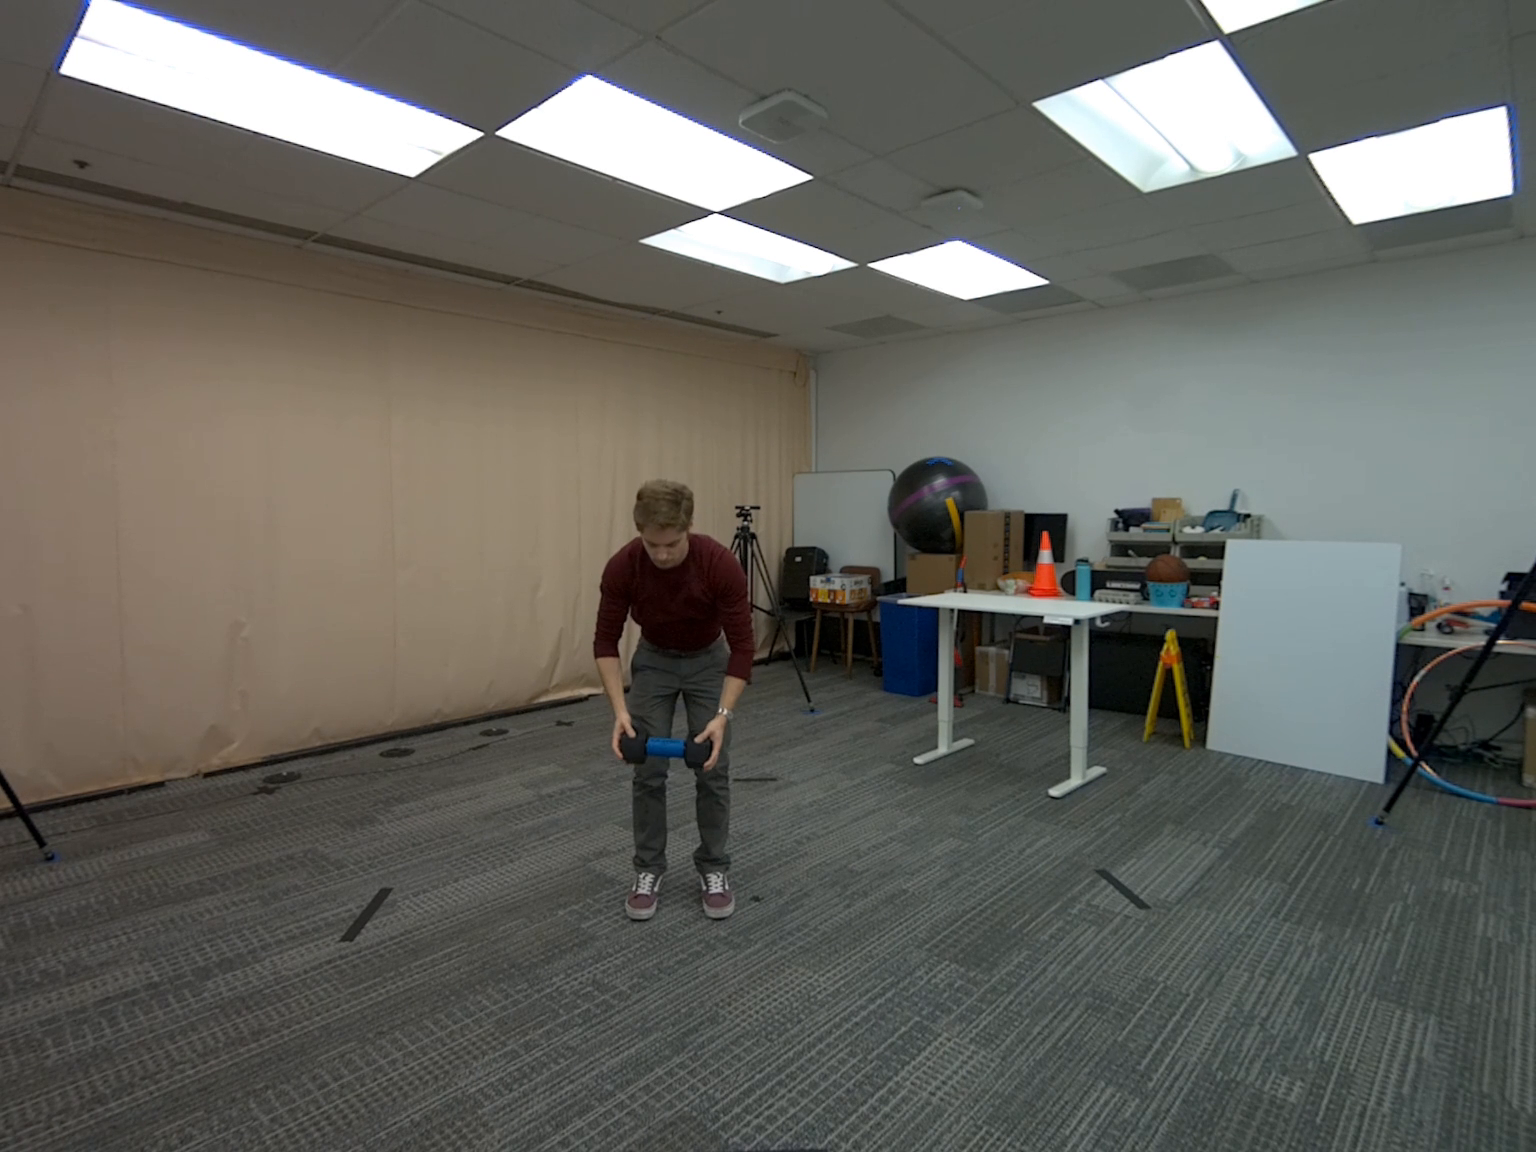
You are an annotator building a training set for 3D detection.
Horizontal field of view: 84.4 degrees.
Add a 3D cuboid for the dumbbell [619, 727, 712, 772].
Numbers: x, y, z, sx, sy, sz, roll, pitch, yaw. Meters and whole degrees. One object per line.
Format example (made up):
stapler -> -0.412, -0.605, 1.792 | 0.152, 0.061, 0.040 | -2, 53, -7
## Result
dumbbell -> -0.325, 0.560, 2.742 | 0.296, 0.107, 0.123 | 3, 23, 8
